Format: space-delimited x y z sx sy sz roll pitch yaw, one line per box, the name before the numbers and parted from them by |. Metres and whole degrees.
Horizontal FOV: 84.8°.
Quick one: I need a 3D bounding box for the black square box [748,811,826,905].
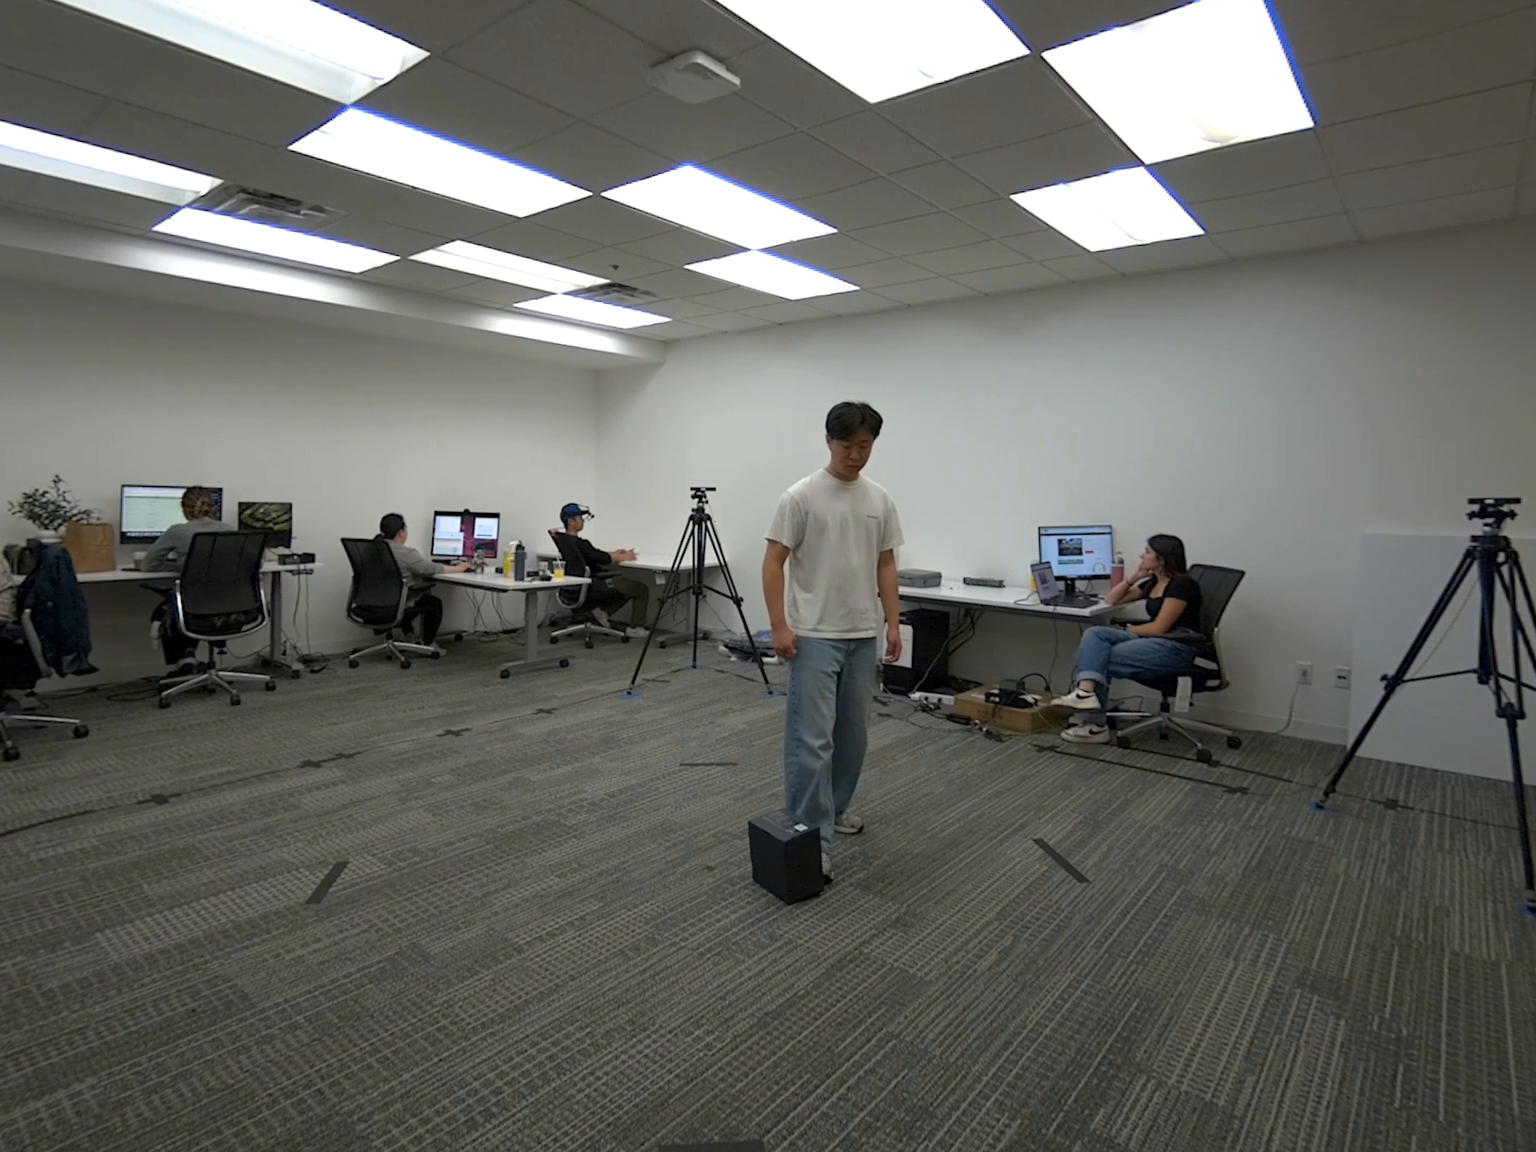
black square box | 0.060 0.964 2.959 0.152 0.227 0.224 -5 7 -34
